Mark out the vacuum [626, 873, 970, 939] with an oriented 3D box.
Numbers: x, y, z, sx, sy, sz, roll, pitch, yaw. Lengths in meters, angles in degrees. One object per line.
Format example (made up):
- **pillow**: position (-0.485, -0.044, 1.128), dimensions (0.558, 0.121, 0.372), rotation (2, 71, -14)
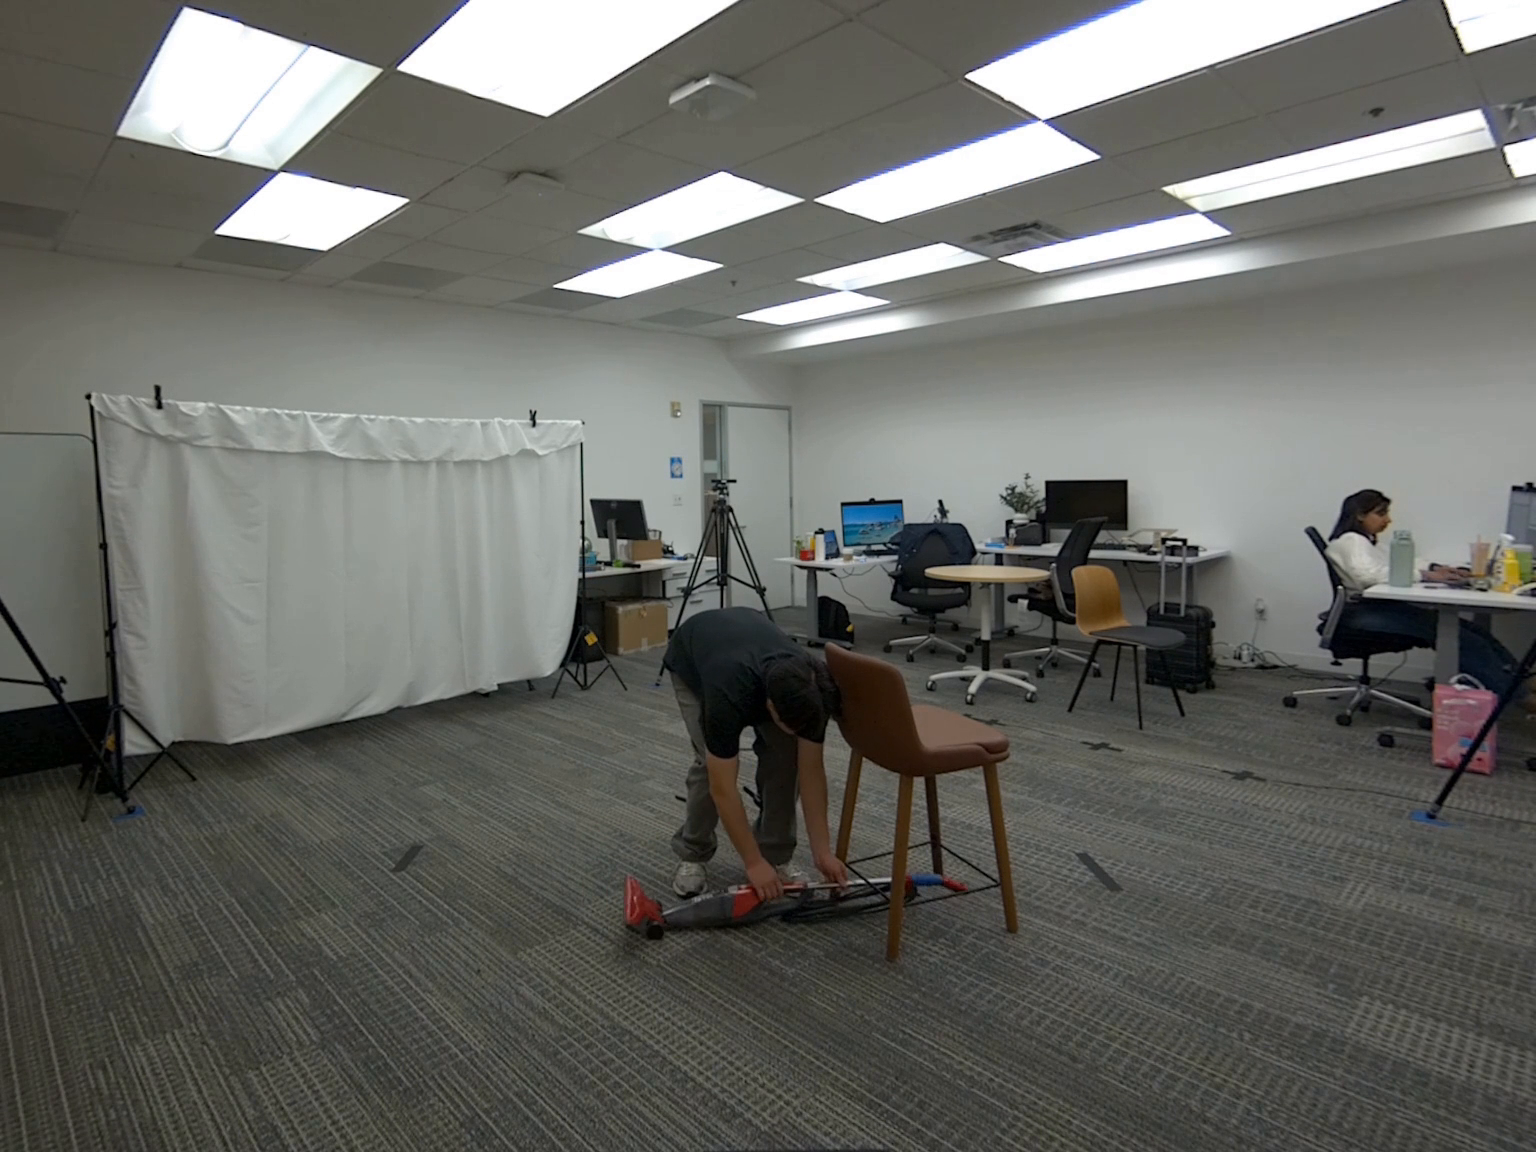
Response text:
- **vacuum**: position (0.112, 1.029, 2.711), dimensions (1.041, 0.142, 0.257), rotation (-2, 13, -8)
